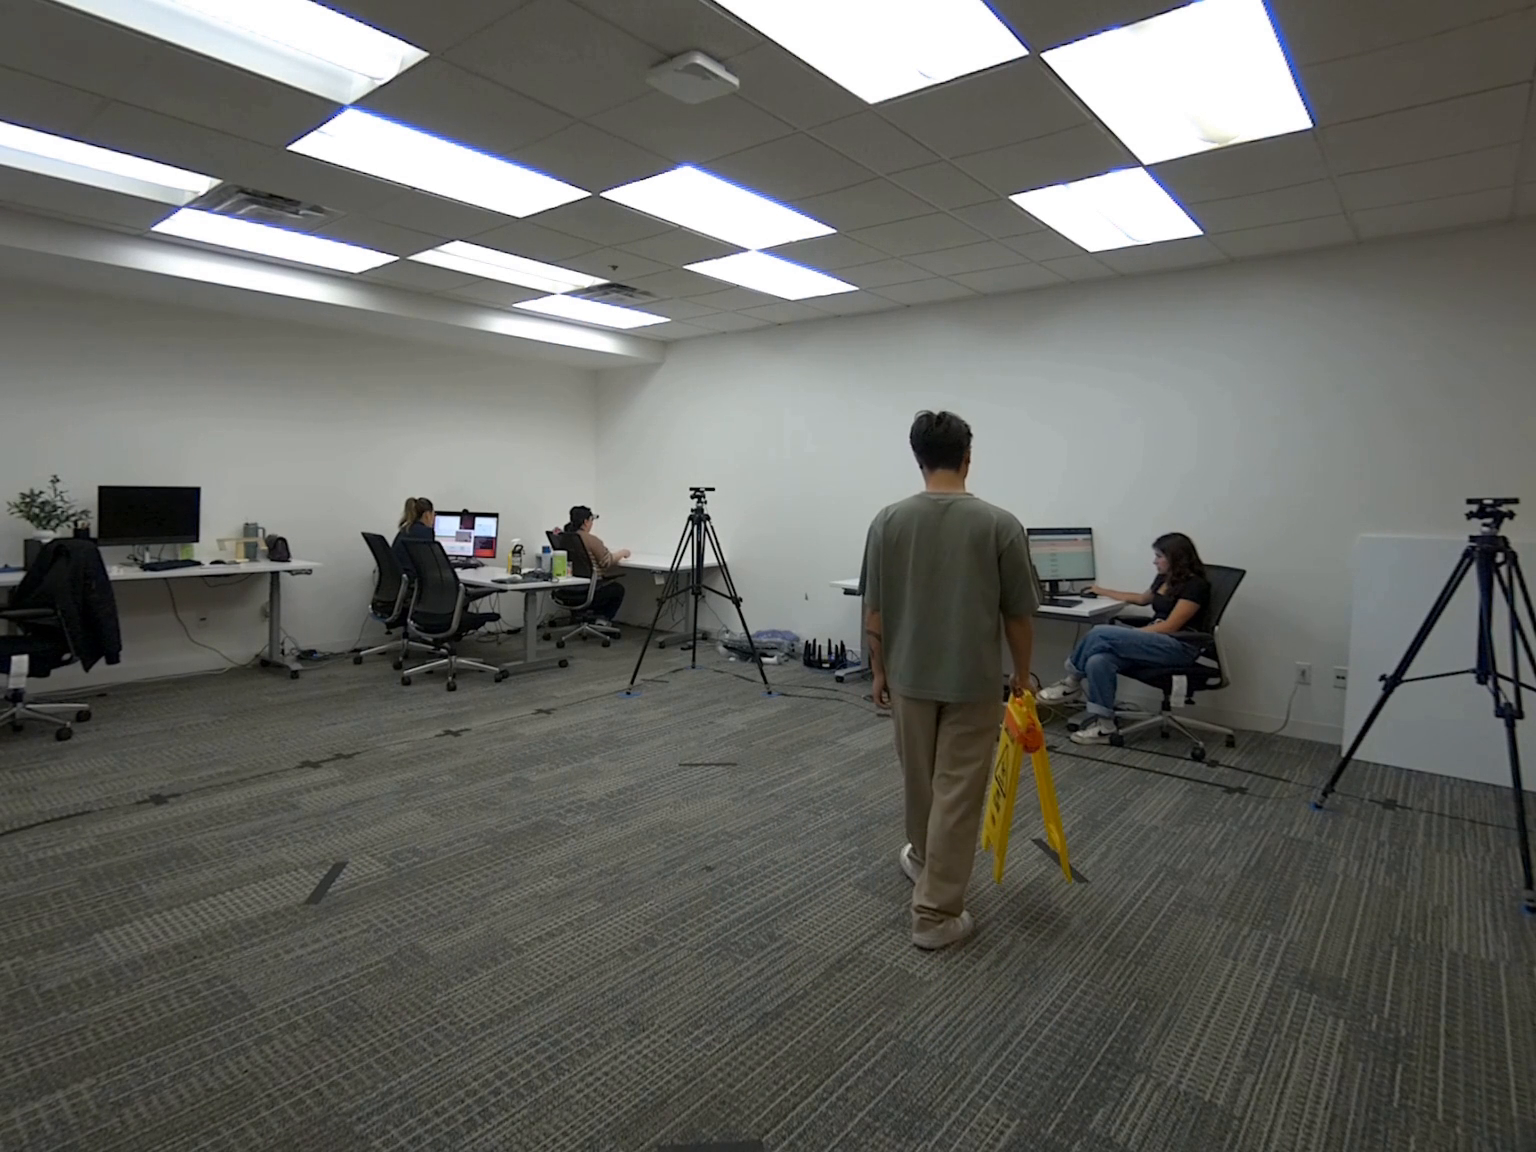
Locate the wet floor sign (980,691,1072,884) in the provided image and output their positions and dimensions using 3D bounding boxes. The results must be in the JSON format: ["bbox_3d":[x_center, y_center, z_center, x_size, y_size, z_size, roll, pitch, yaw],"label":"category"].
[{"bbox_3d":[0.872,0.679,2.895,0.291,0.640,0.283,-4,9,4],"label":"wet floor sign"}]
